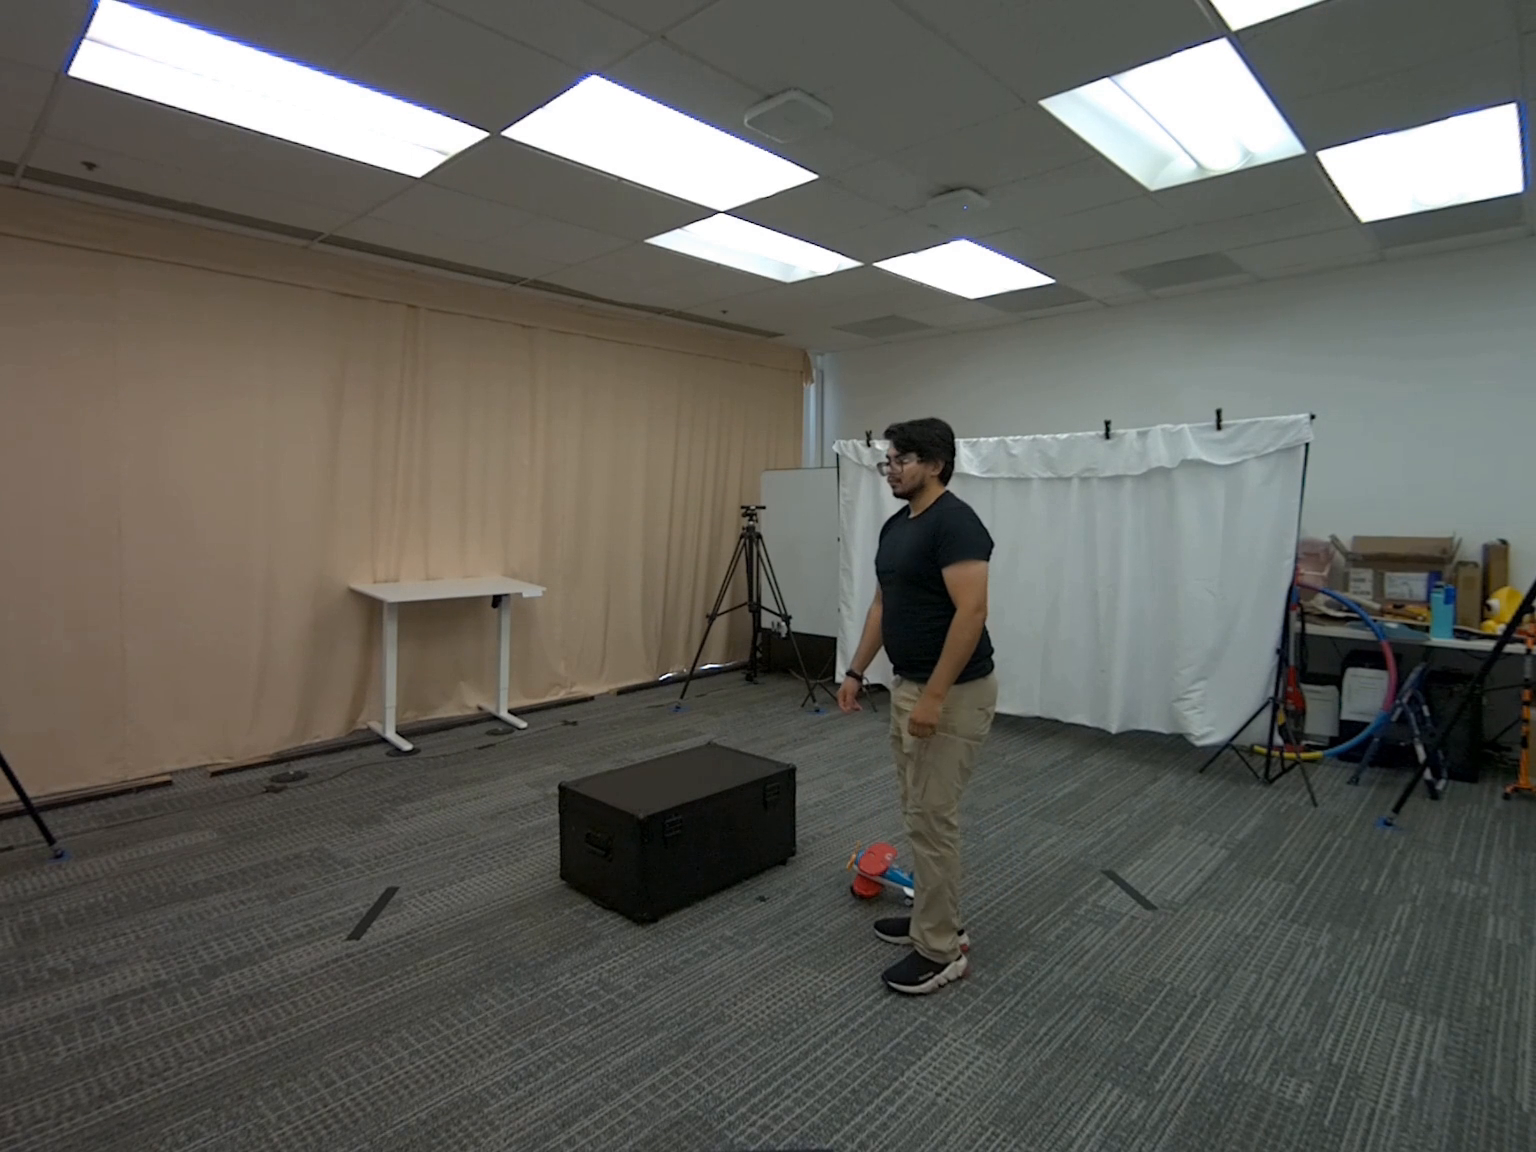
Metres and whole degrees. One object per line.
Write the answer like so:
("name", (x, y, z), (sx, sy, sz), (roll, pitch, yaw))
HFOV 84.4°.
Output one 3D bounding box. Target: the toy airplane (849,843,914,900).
("toy airplane", (0.424, 1.068, 2.998), (0.259, 0.156, 0.252), (-2, 4, -1))
